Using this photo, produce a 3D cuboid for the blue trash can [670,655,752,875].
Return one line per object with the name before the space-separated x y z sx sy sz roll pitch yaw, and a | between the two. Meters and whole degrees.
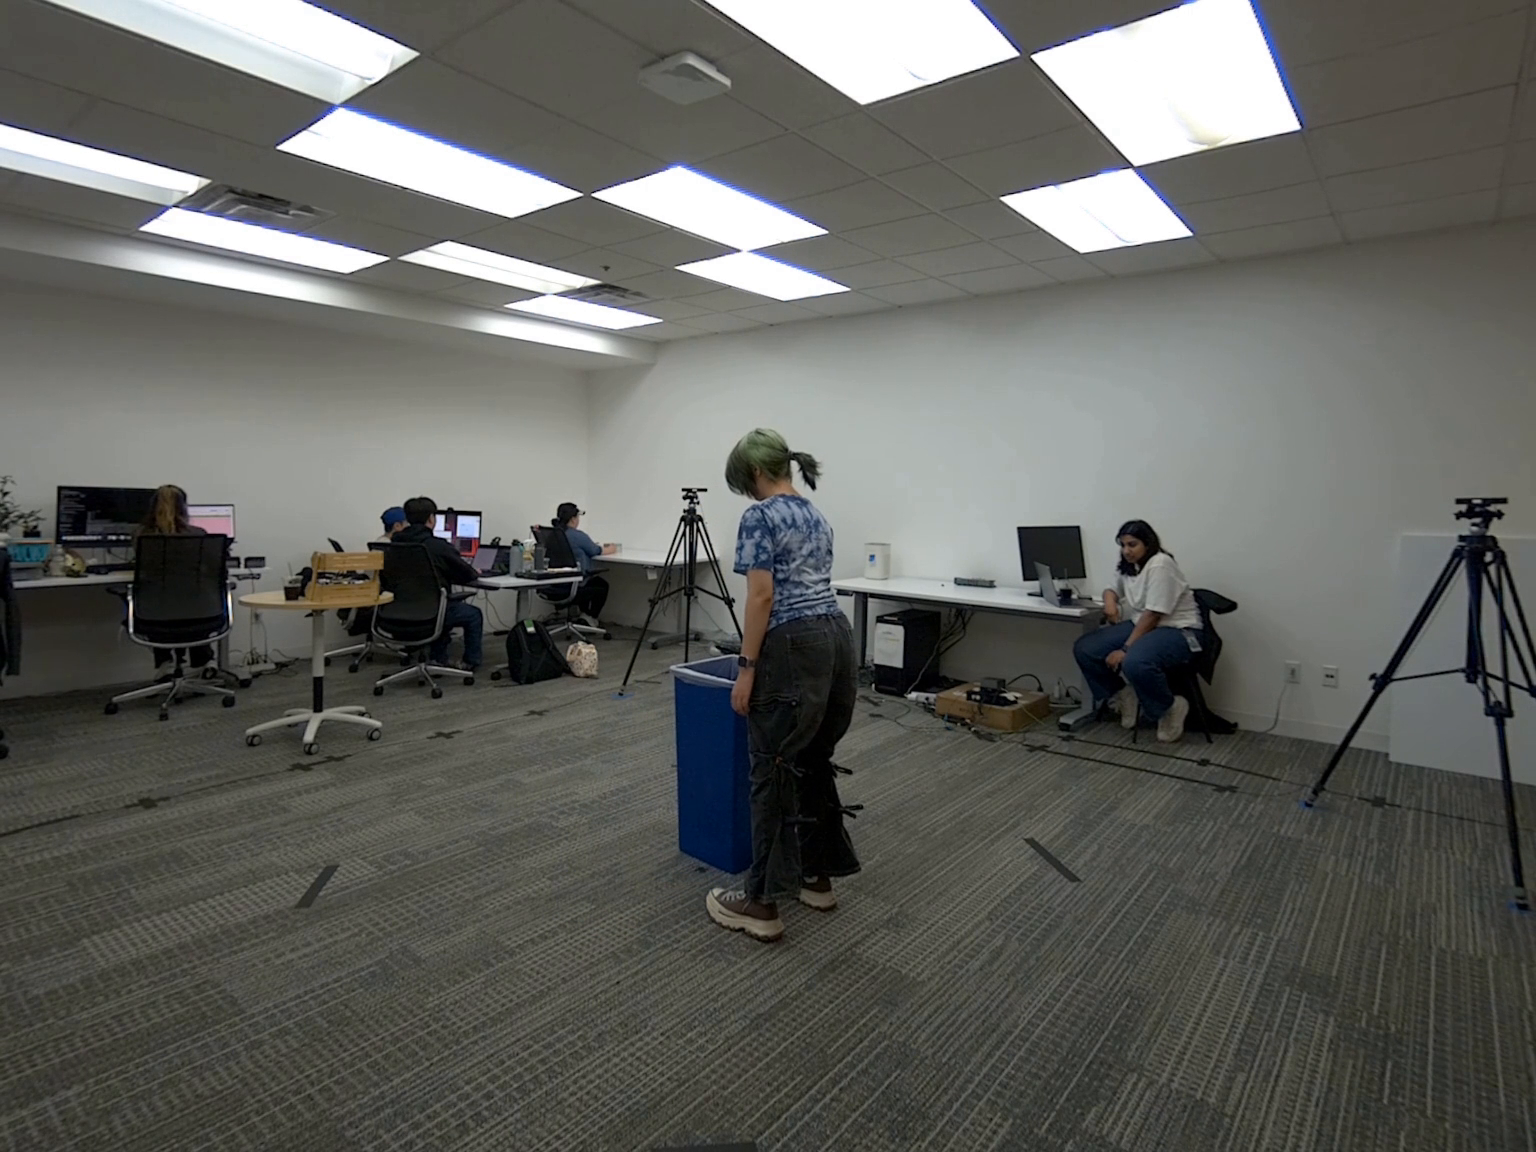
blue trash can | -0.147 0.699 3.249 0.391 0.712 0.362 4 4 43
